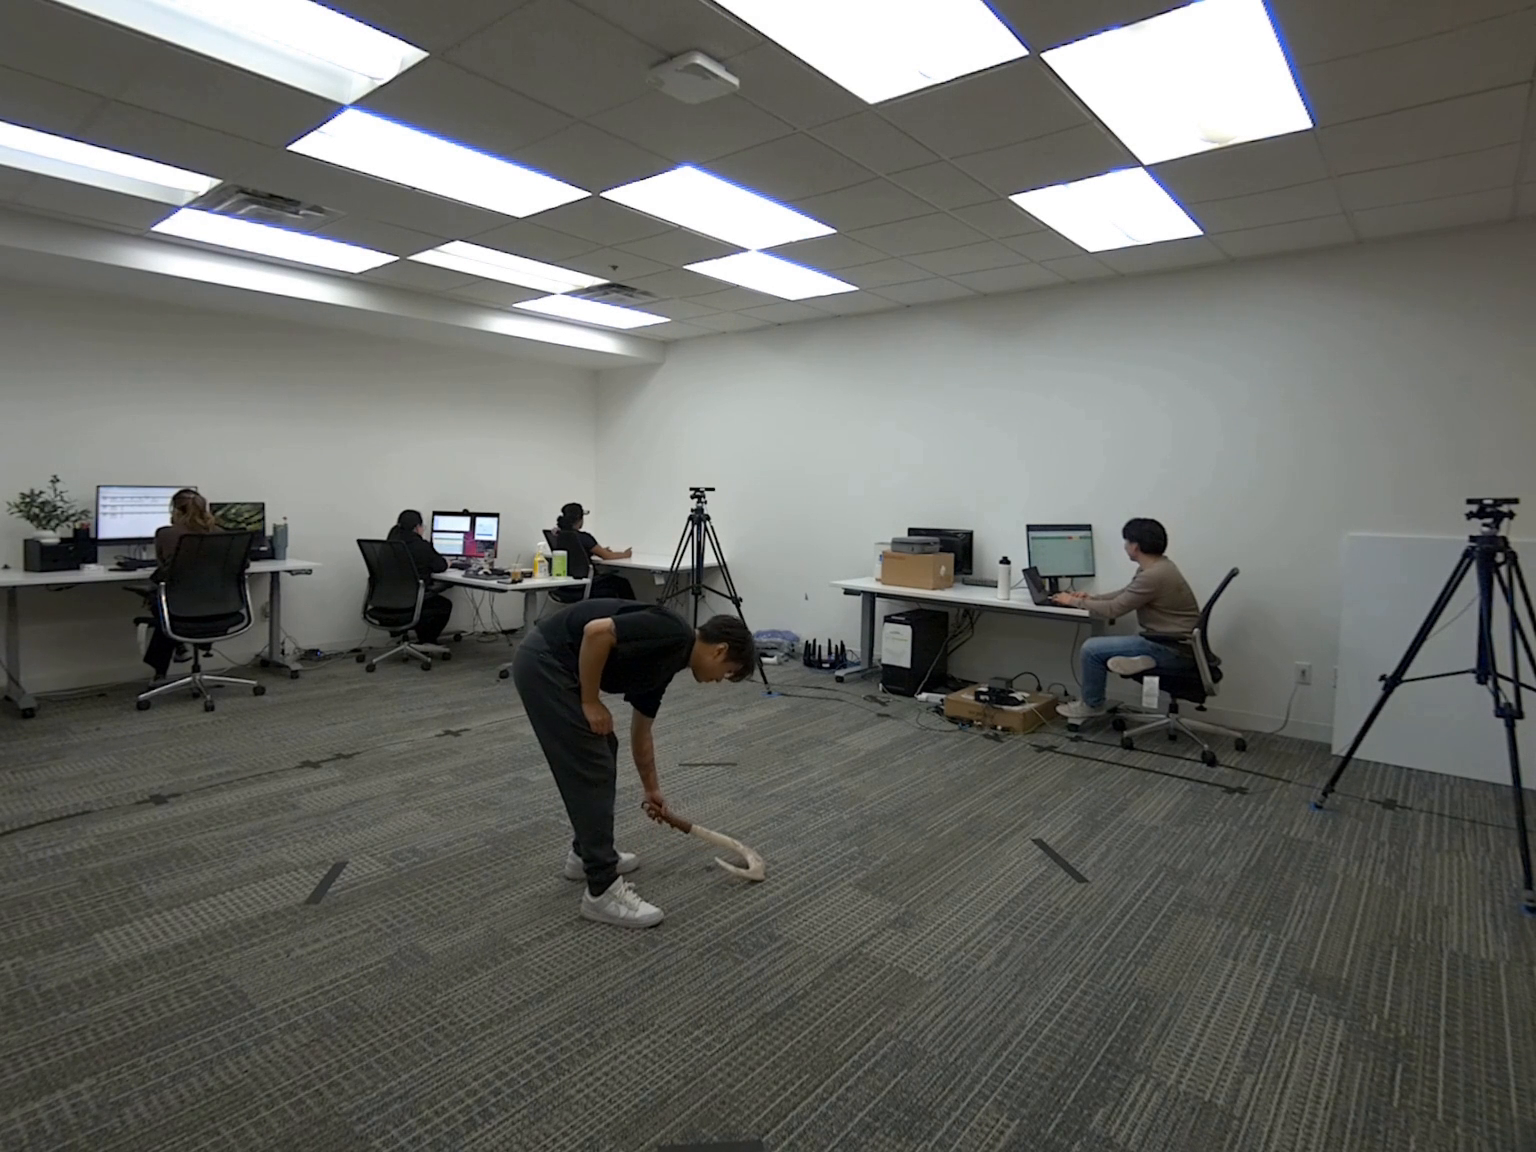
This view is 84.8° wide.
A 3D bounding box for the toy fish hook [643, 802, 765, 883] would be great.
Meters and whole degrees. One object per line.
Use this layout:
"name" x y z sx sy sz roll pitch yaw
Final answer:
"toy fish hook" -0.244 0.961 3.070 0.508 0.048 0.224 24 2 2
